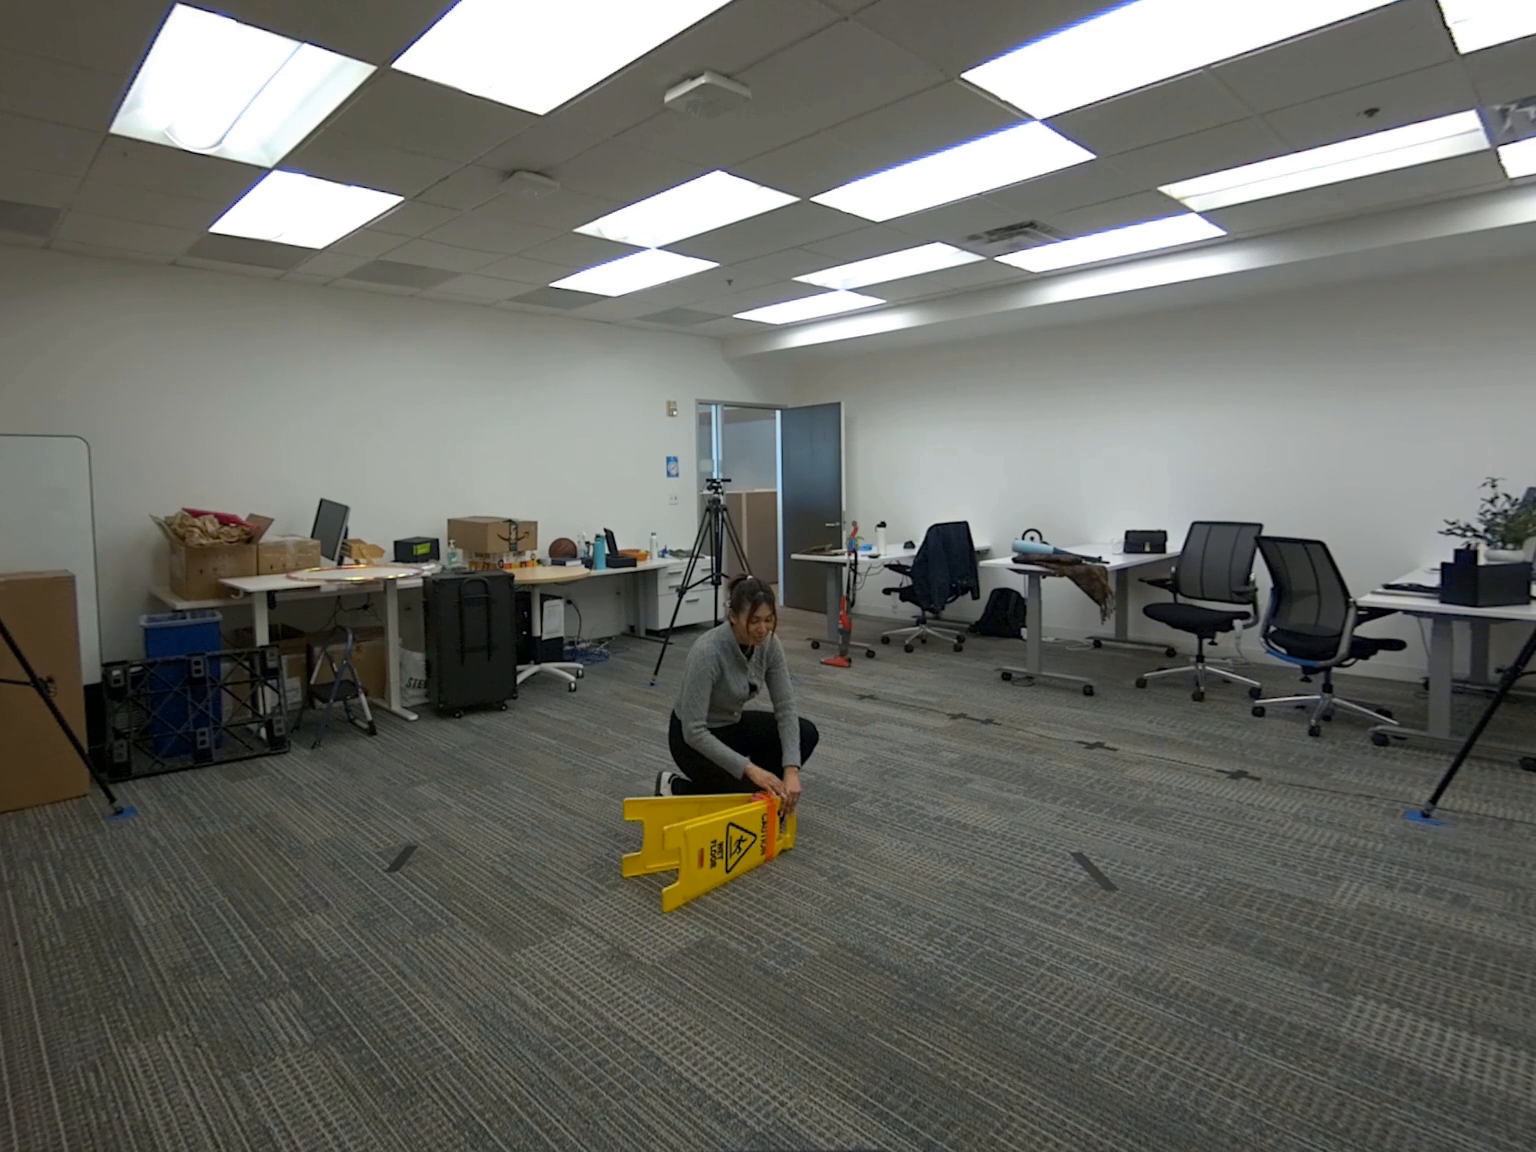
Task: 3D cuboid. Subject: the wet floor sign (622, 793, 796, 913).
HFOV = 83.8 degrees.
[{"bbox_3d":[-0.160,0.934,3.042,0.629,0.281,0.298,-1,6,-34],"label":"wet floor sign"}]
